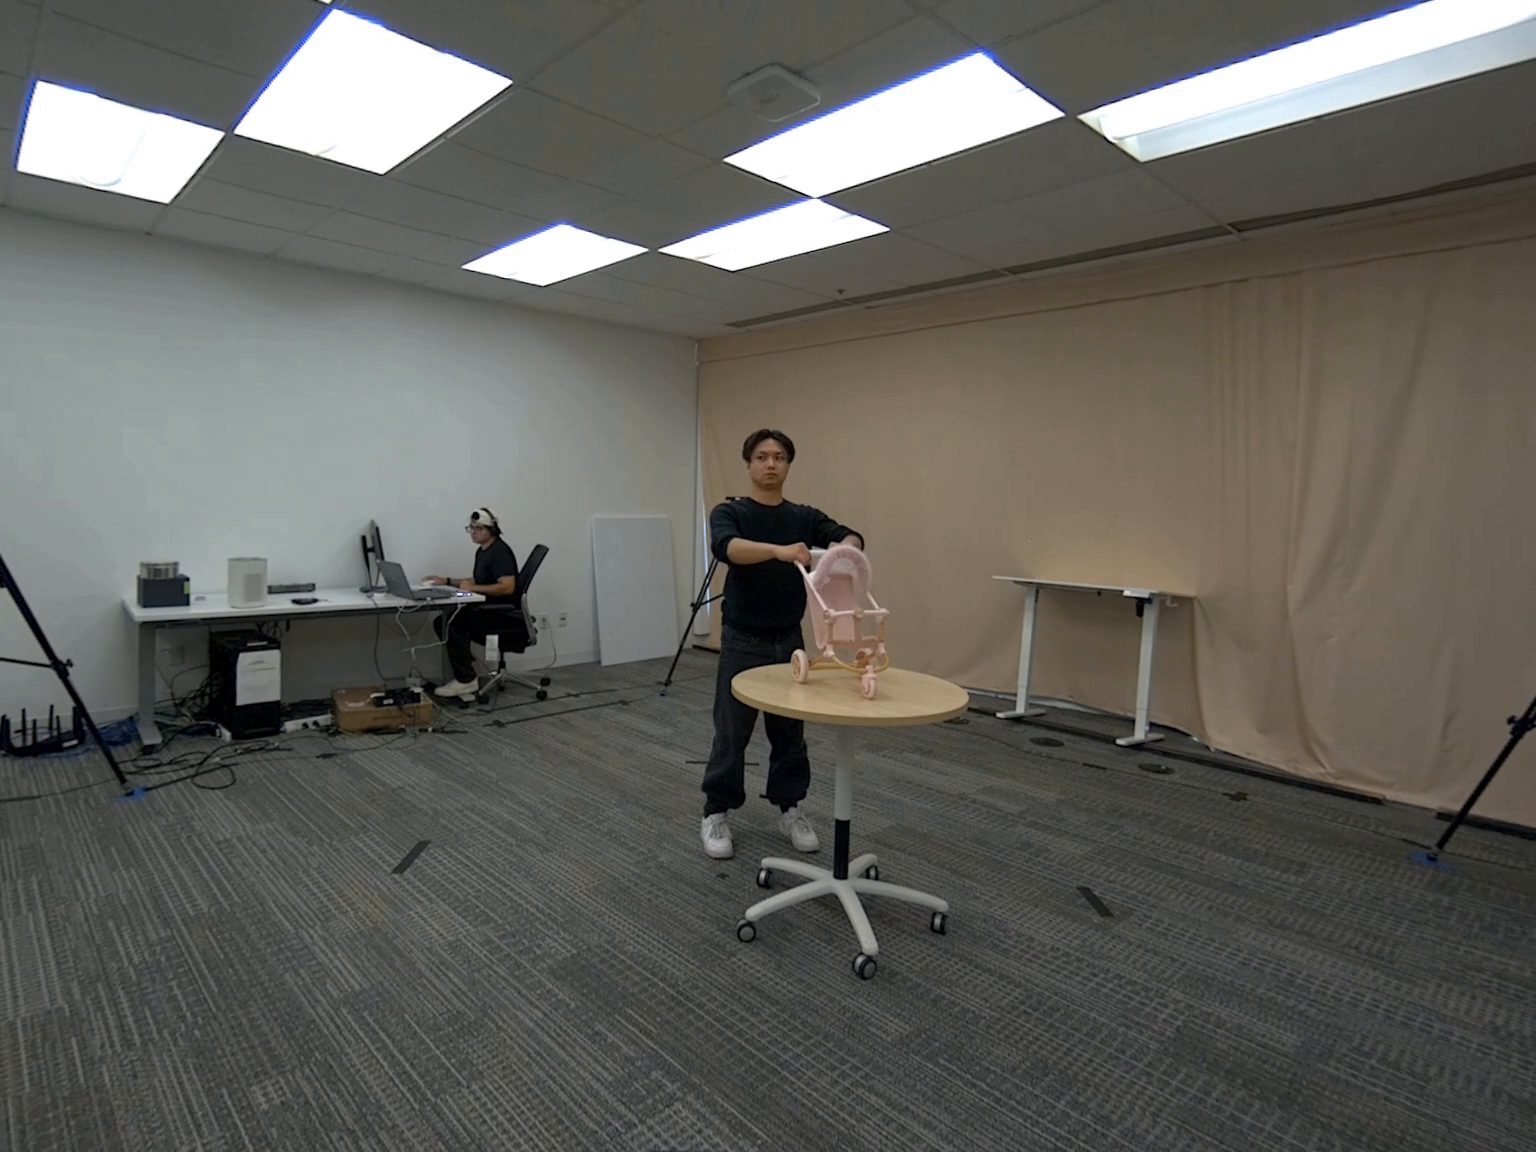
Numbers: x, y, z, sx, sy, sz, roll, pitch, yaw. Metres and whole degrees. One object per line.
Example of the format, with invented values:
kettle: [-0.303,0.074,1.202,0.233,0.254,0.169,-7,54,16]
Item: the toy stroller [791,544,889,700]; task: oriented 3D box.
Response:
toy stroller: [0.244,0.141,2.760,0.277,0.540,0.343,1,-12,-18]
